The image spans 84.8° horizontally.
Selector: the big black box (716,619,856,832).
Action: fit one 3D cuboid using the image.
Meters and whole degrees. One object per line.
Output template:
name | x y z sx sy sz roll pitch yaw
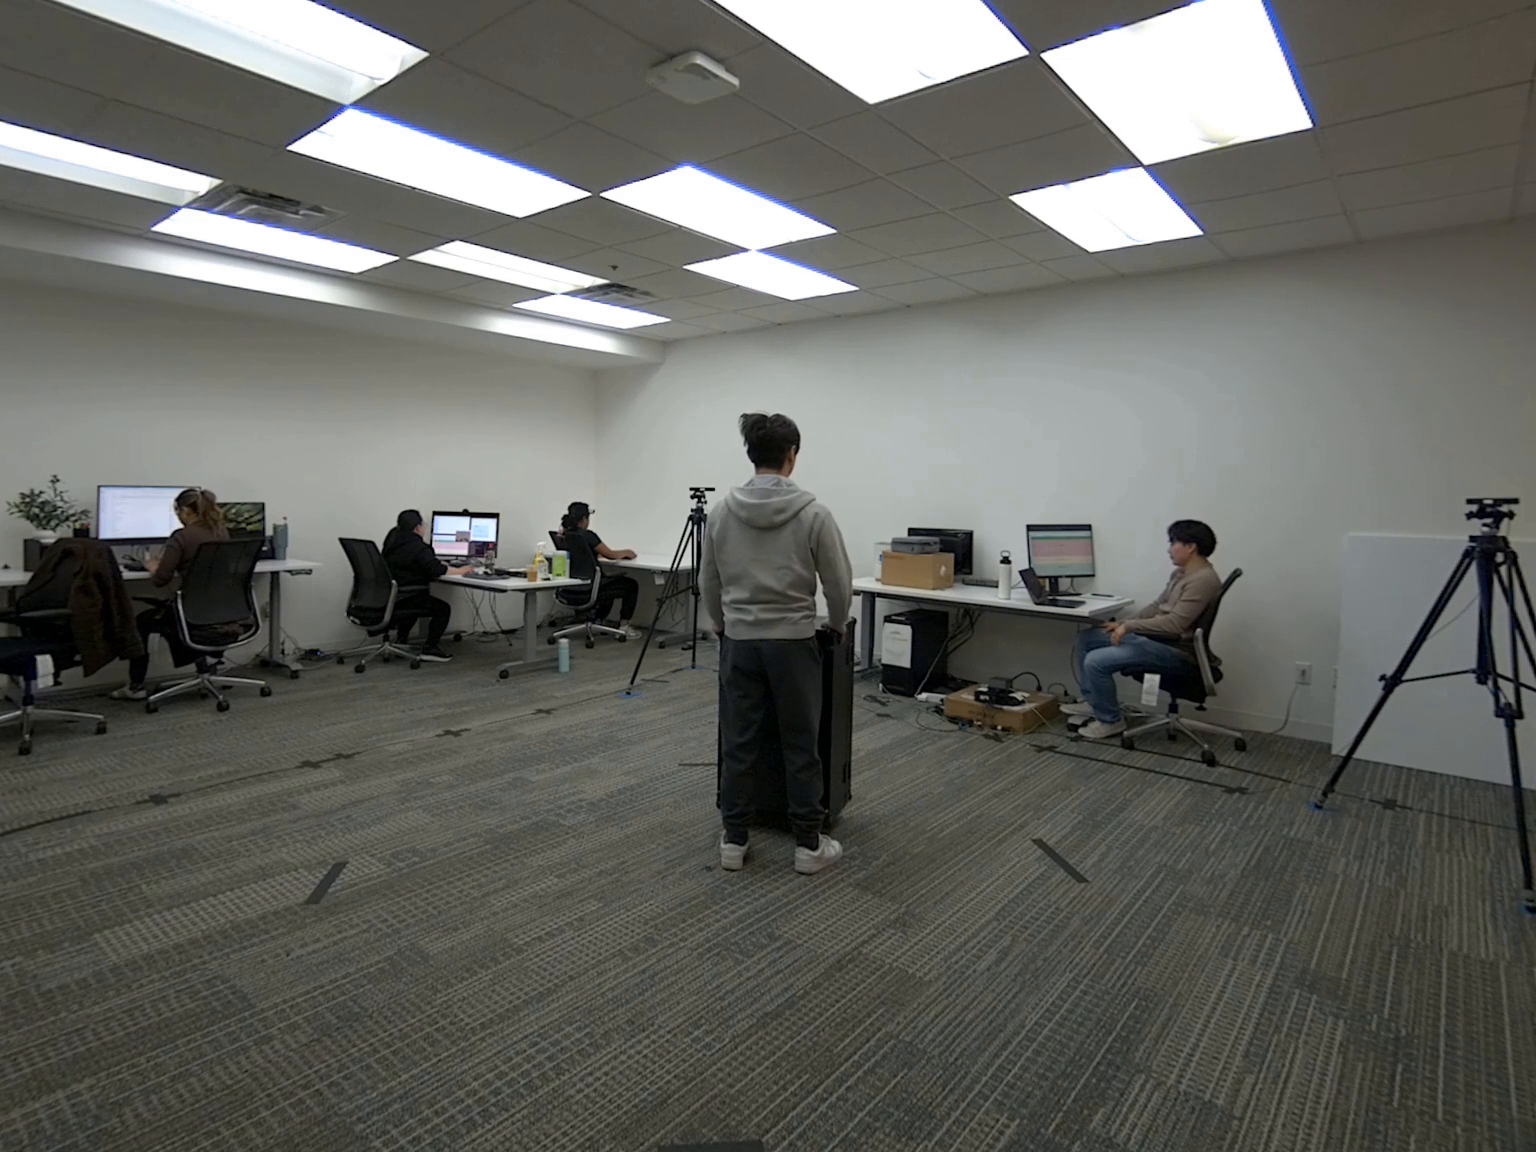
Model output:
big black box | 0.071 0.598 3.554 0.533 0.858 0.388 3 4 22
